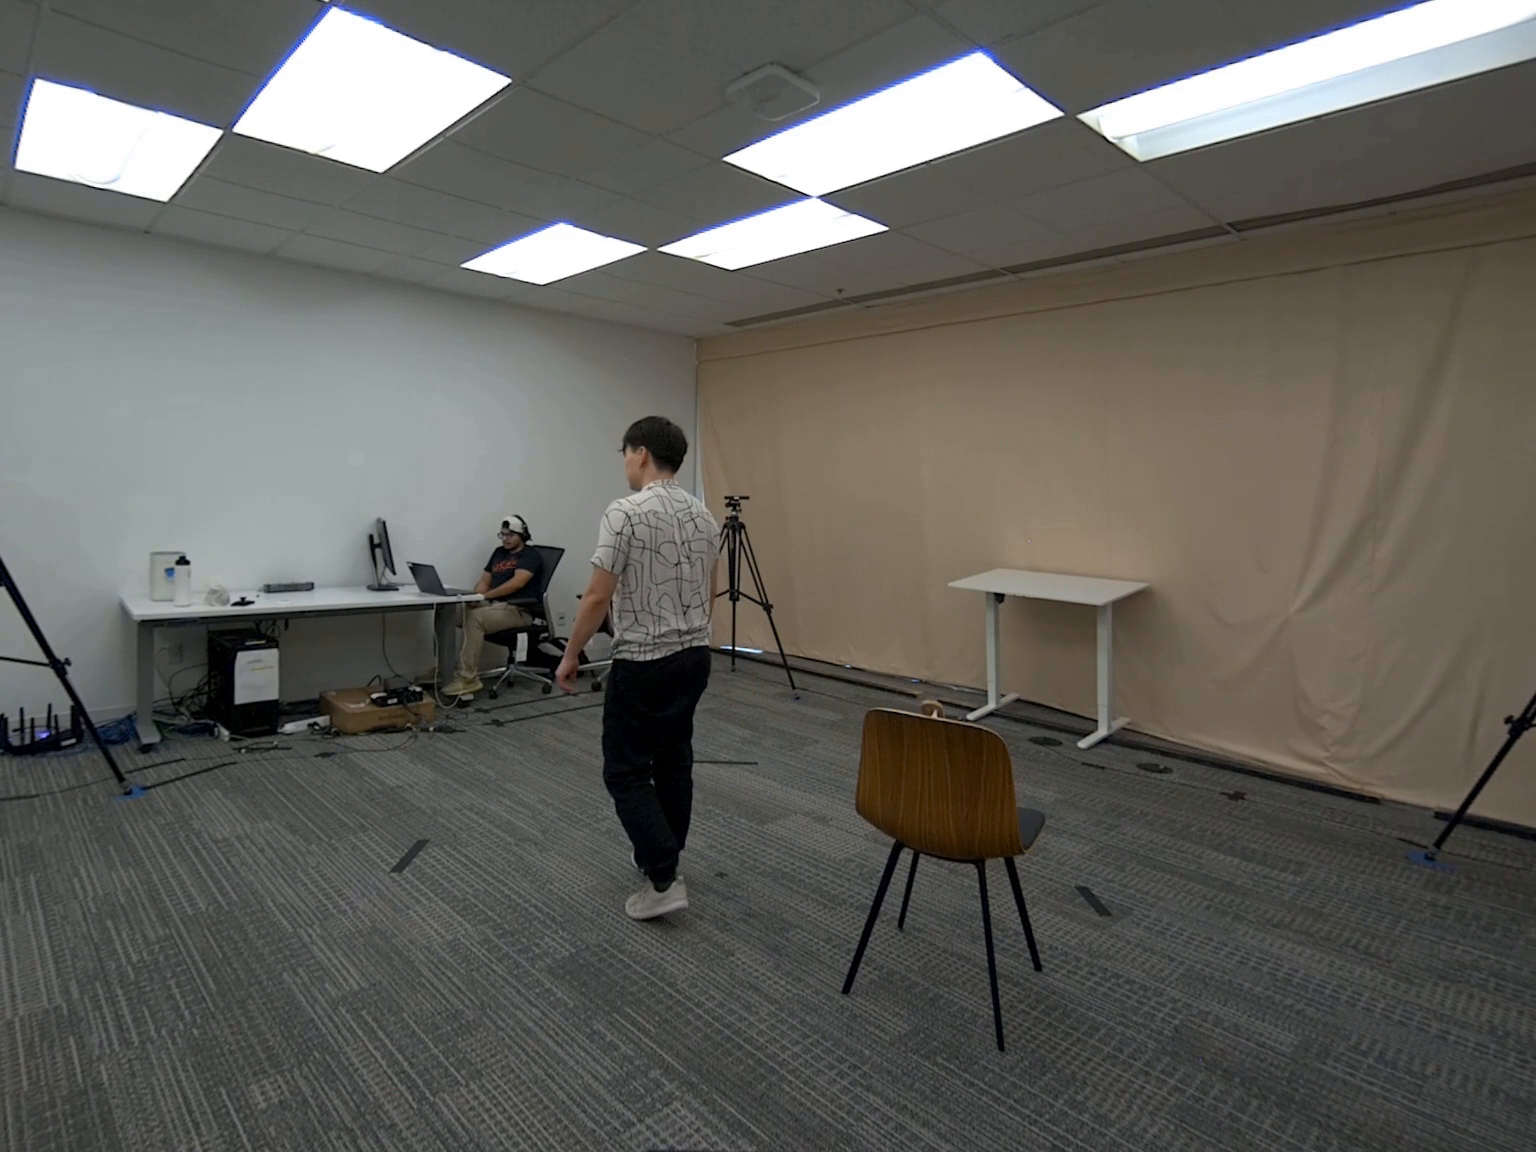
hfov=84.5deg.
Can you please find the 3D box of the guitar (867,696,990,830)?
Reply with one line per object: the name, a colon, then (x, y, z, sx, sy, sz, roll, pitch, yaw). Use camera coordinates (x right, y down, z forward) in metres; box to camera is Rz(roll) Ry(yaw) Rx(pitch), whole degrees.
guitar: (0.447, 0.516, 2.322, 0.197, 0.483, 0.071, -2, 43, 32)
